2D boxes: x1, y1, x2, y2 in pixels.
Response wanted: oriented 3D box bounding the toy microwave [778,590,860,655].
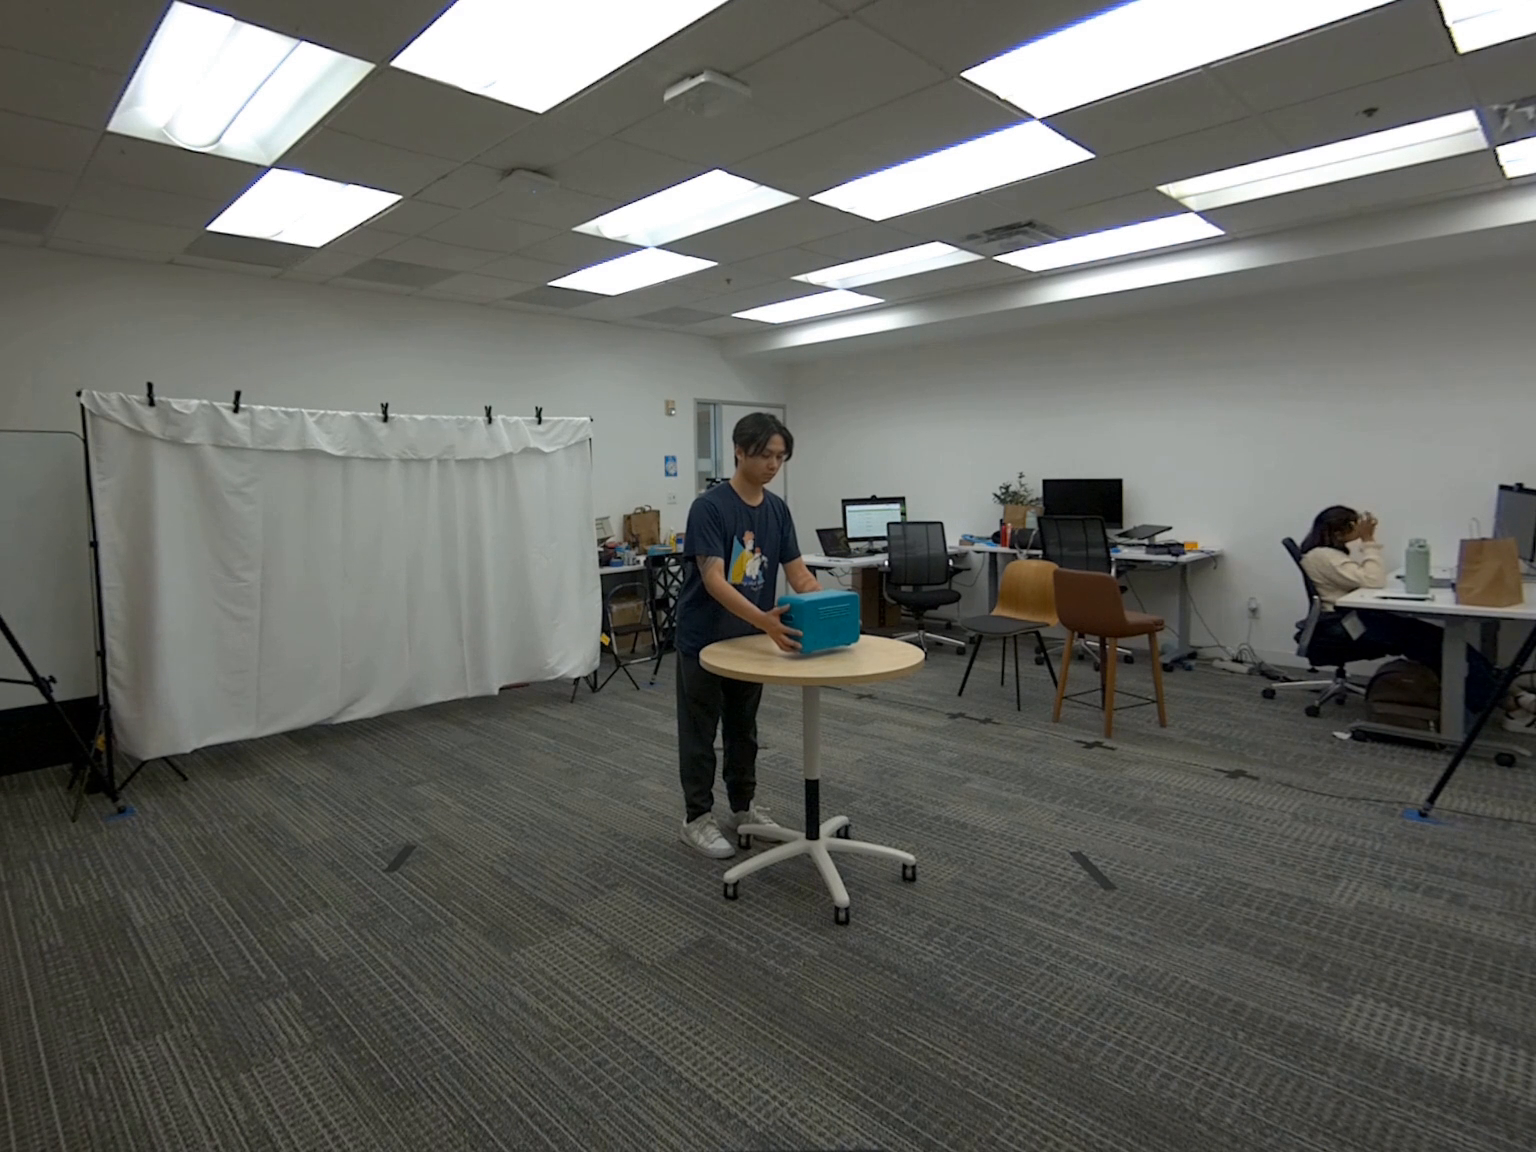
[{"bbox_3d":[0.172,0.156,2.919,0.279,0.183,0.157,-5,7,-40],"label":"toy microwave"}]
